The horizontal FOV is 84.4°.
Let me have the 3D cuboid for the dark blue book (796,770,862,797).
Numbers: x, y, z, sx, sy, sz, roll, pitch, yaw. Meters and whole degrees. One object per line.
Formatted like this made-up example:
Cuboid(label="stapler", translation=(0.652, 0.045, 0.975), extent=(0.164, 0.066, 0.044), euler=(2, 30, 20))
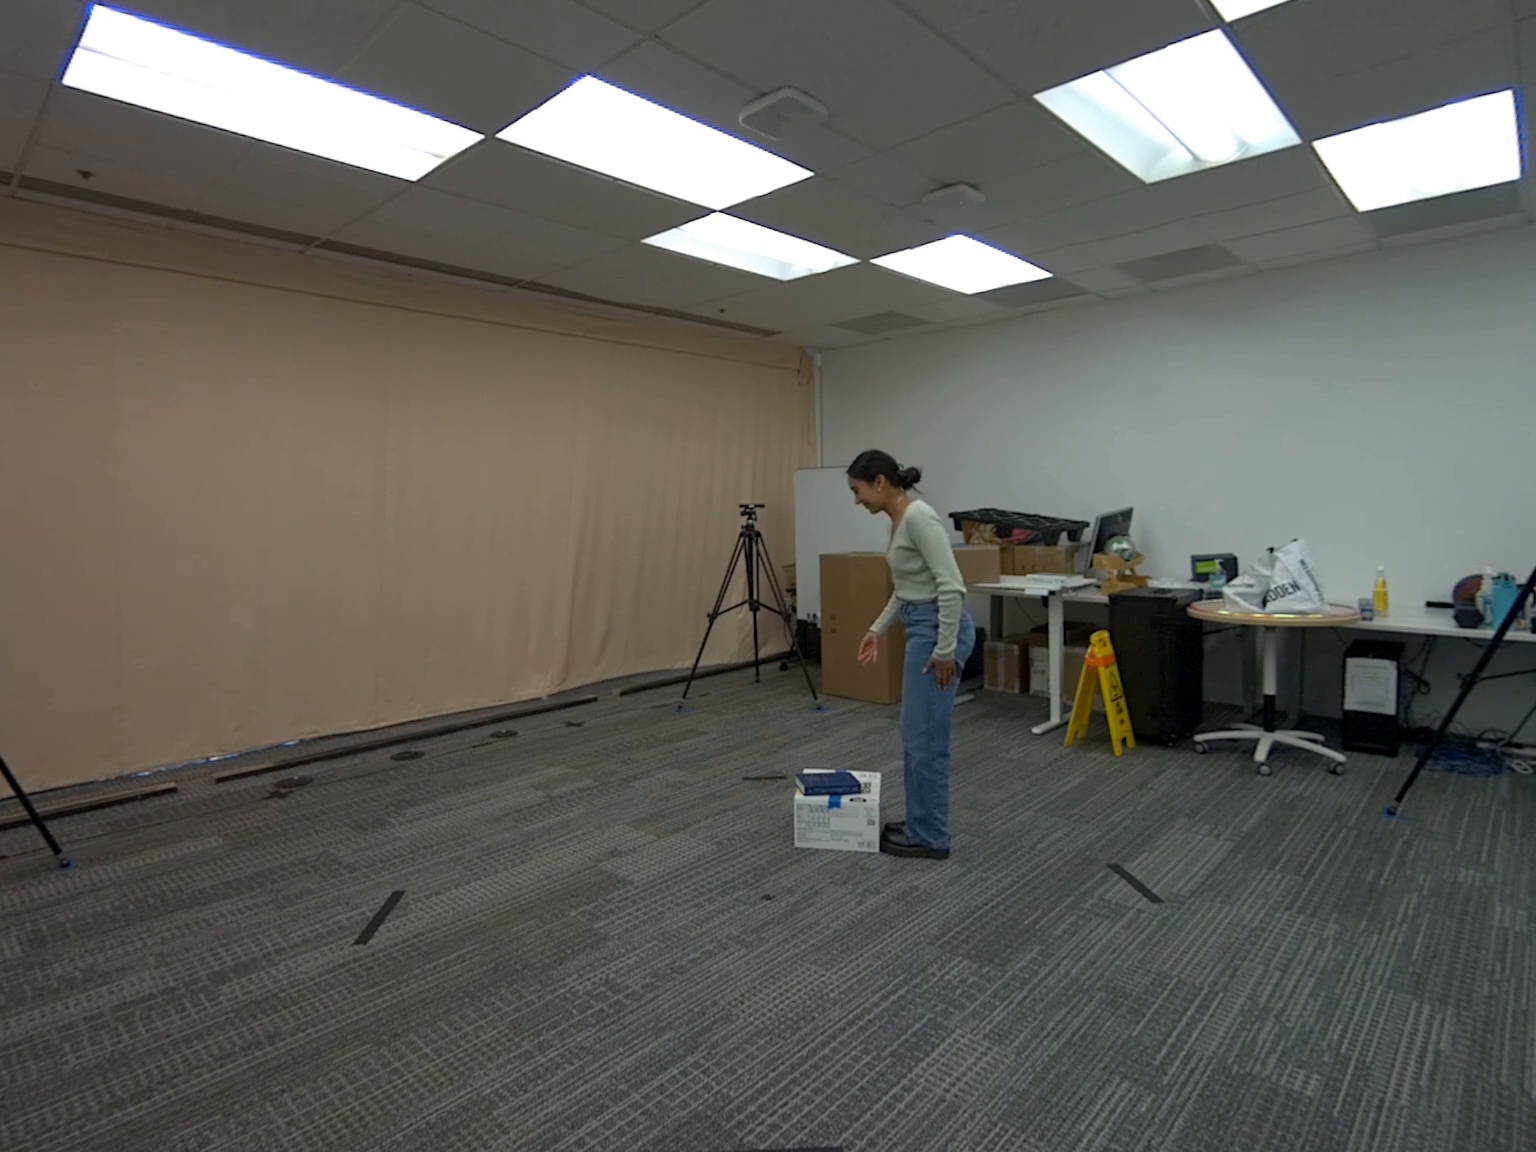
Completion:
Cuboid(label="dark blue book", translation=(0.253, 0.872, 3.528), extent=(0.242, 0.045, 0.165), euler=(-1, 3, -10))
